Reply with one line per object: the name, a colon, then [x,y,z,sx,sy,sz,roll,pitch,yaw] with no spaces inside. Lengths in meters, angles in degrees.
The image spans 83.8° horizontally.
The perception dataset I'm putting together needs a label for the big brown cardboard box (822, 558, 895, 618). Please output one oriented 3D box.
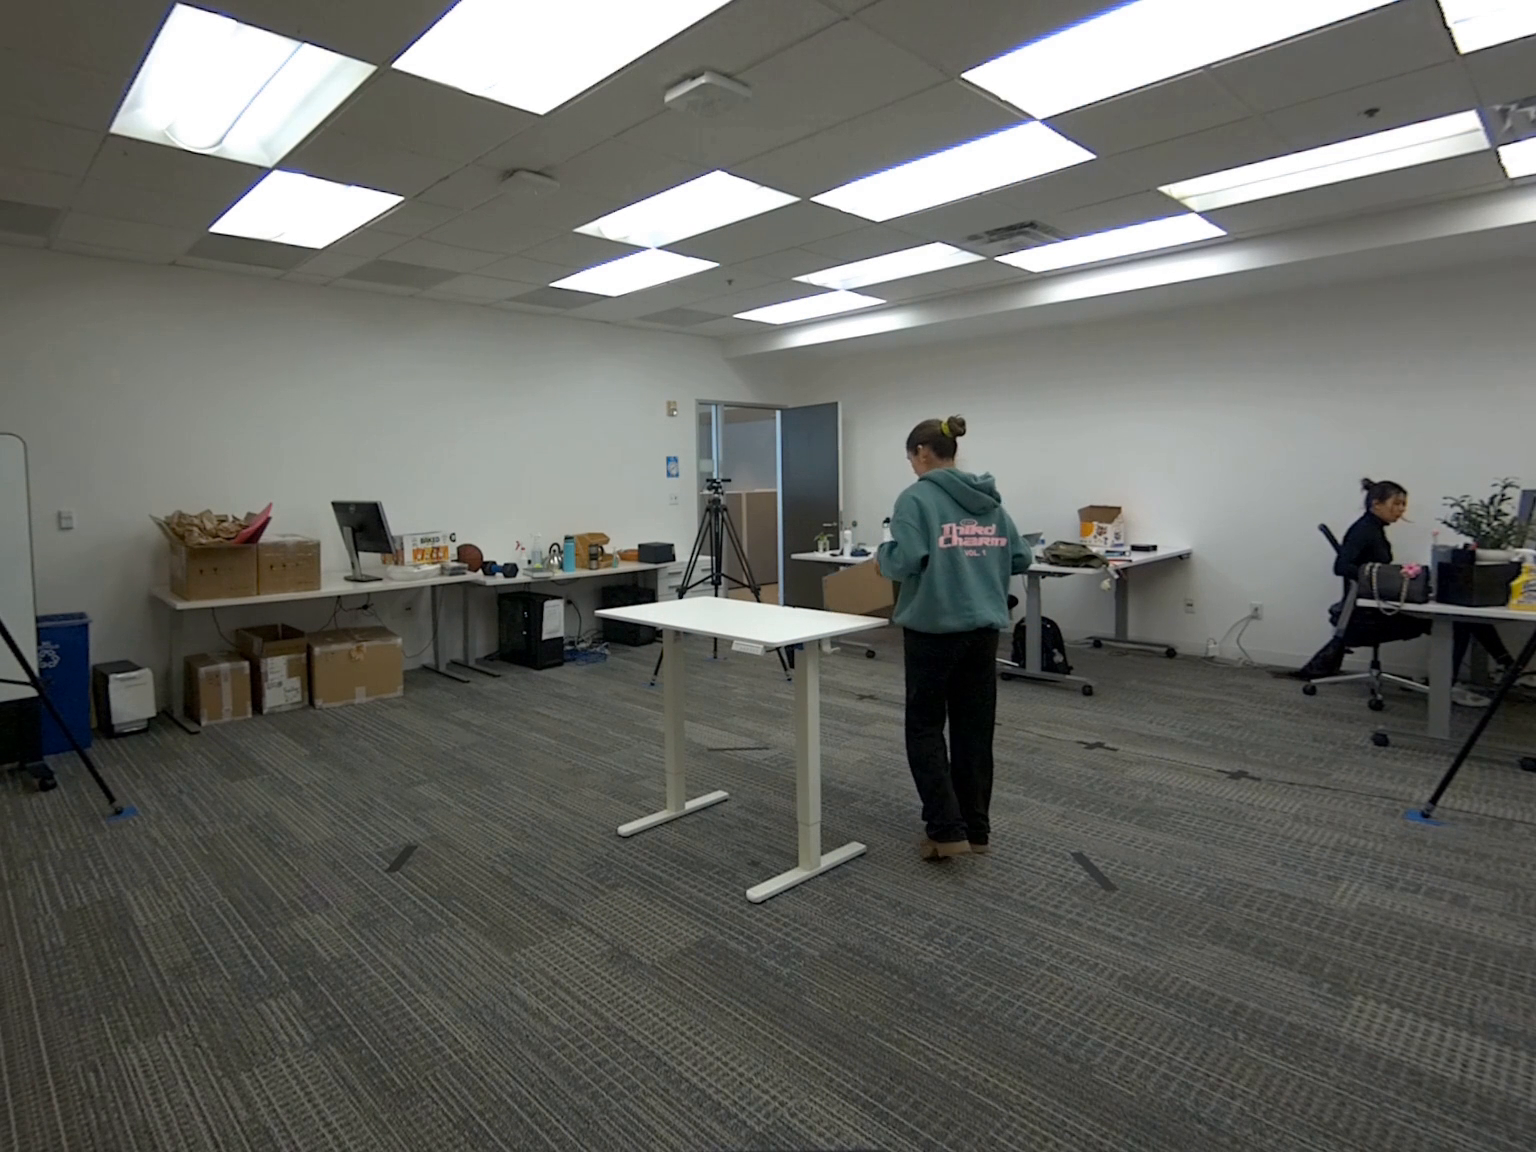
big brown cardboard box: [0.548,0.066,3.574,0.409,0.236,0.594,4,-11,-22]
